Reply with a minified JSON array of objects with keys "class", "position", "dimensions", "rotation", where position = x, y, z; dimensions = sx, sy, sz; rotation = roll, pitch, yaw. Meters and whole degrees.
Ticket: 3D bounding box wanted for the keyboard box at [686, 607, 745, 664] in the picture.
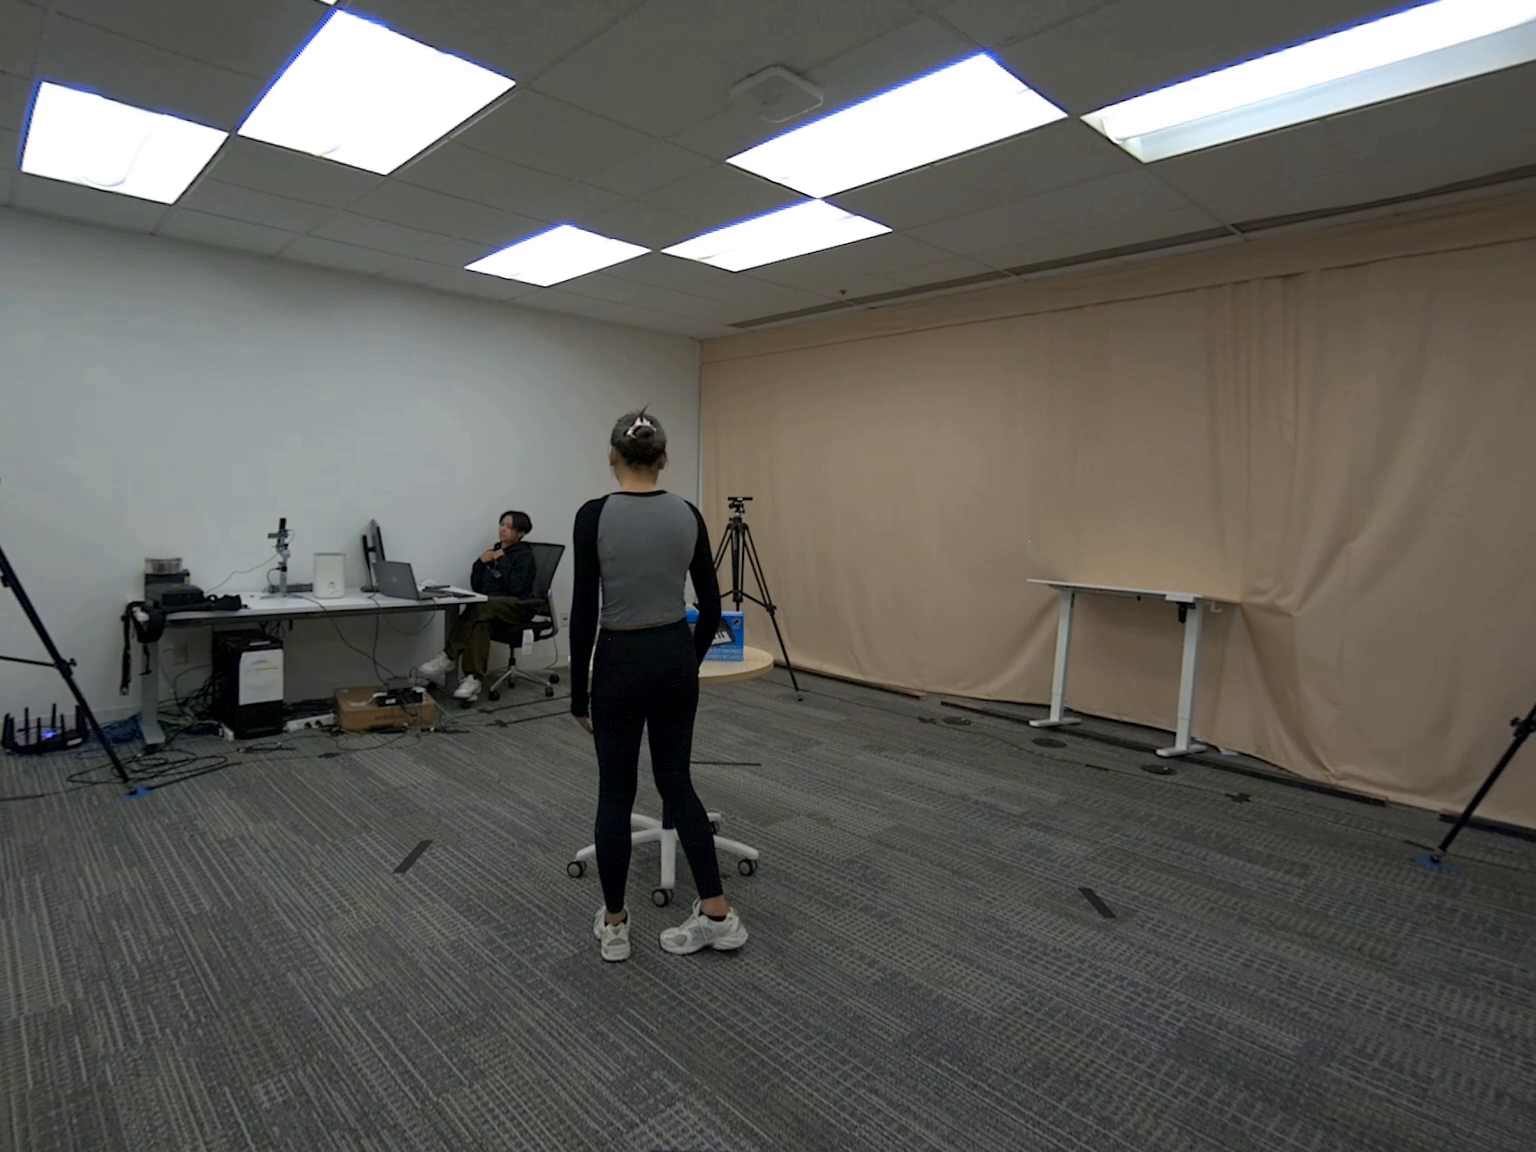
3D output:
[{"class":"keyboard box","position":[-0.312,0.215,3.112],"dimensions":[0.437,0.175,0.059],"rotation":[2,7,2]}]
